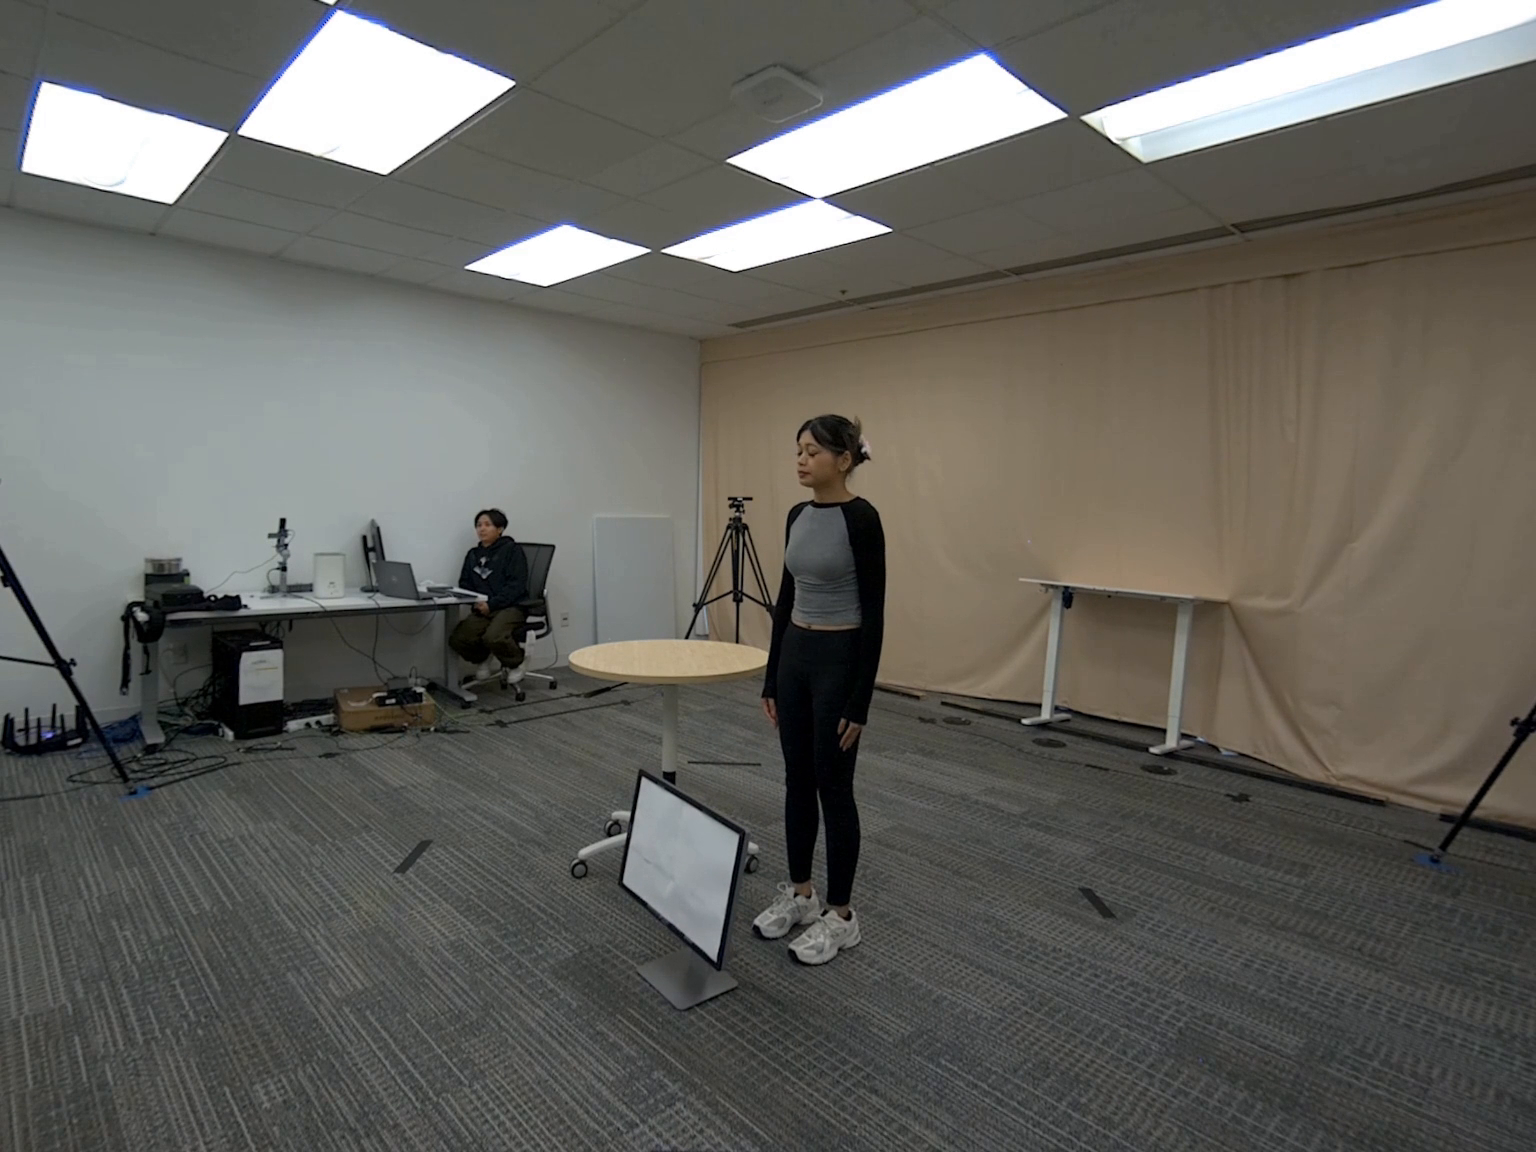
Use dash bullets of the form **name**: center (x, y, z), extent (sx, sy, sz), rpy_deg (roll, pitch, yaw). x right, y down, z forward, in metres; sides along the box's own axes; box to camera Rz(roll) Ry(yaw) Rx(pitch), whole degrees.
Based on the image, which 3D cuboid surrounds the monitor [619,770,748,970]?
- **monitor**: center (-0.234, 0.908, 2.403), extent (0.183, 0.520, 0.553), rpy_deg (-4, 7, -38)
